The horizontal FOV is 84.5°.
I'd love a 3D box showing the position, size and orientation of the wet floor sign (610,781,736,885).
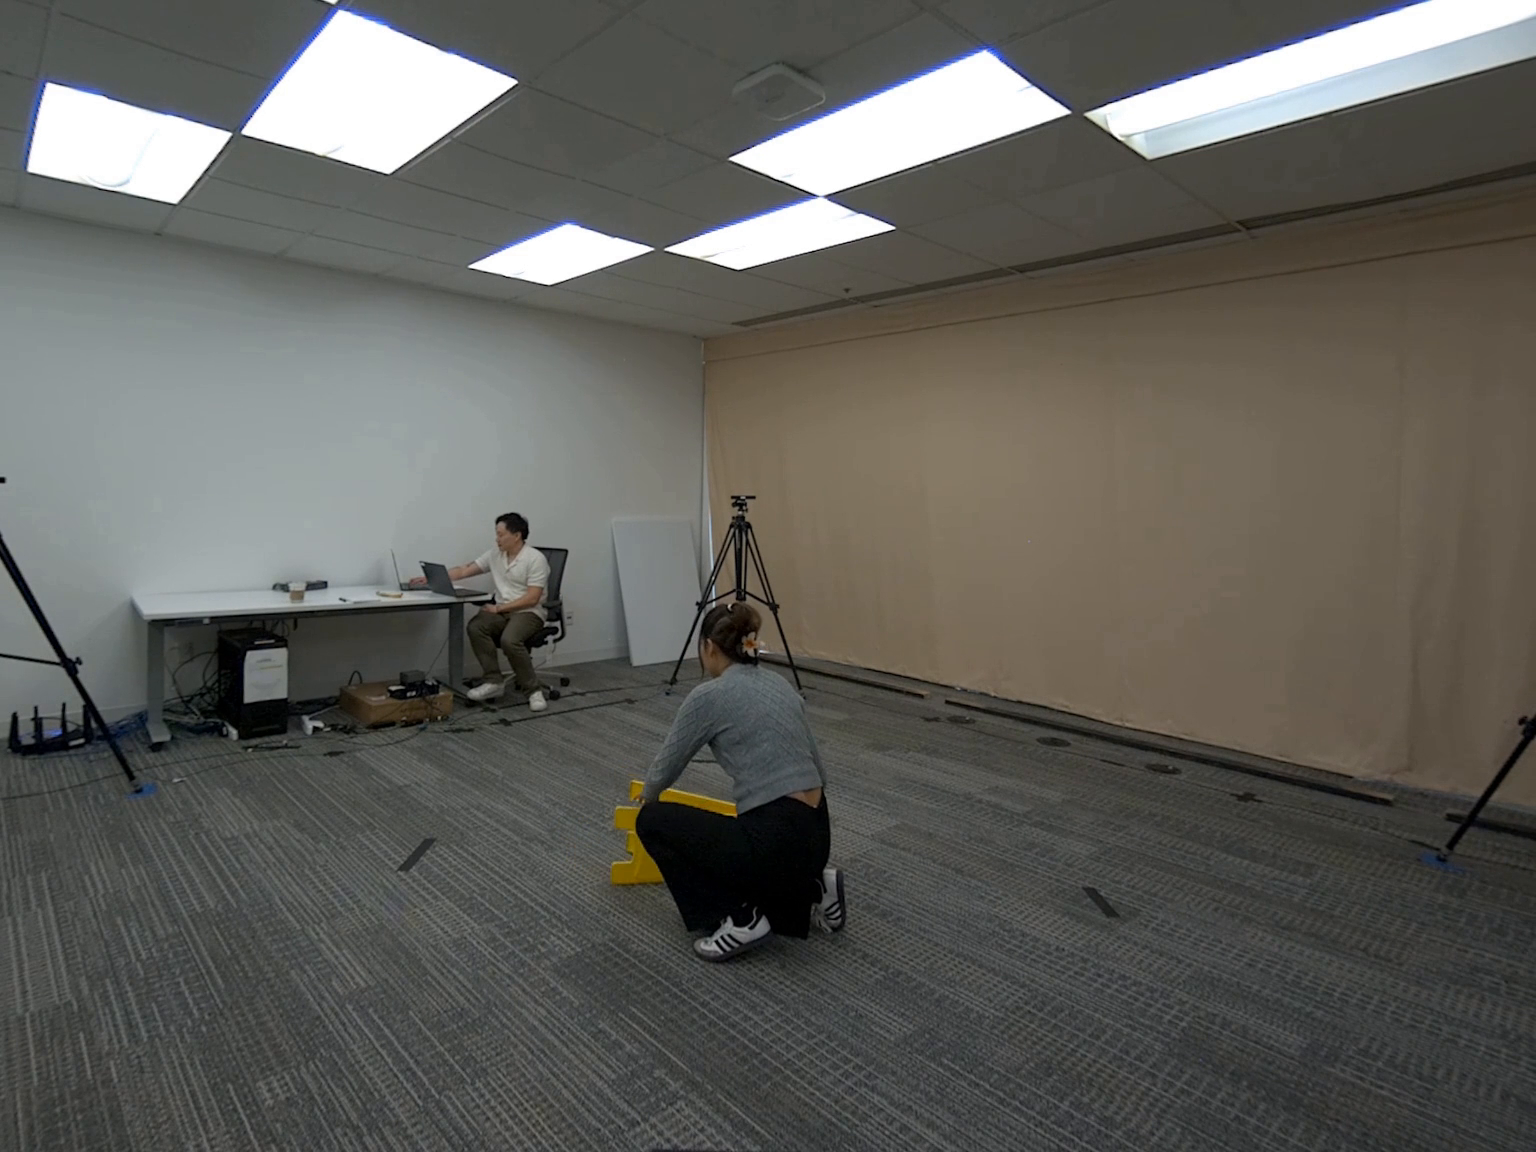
[{"bbox_3d":[-0.226,0.972,3.119,0.648,0.281,0.289,5,4,4],"label":"wet floor sign"}]
